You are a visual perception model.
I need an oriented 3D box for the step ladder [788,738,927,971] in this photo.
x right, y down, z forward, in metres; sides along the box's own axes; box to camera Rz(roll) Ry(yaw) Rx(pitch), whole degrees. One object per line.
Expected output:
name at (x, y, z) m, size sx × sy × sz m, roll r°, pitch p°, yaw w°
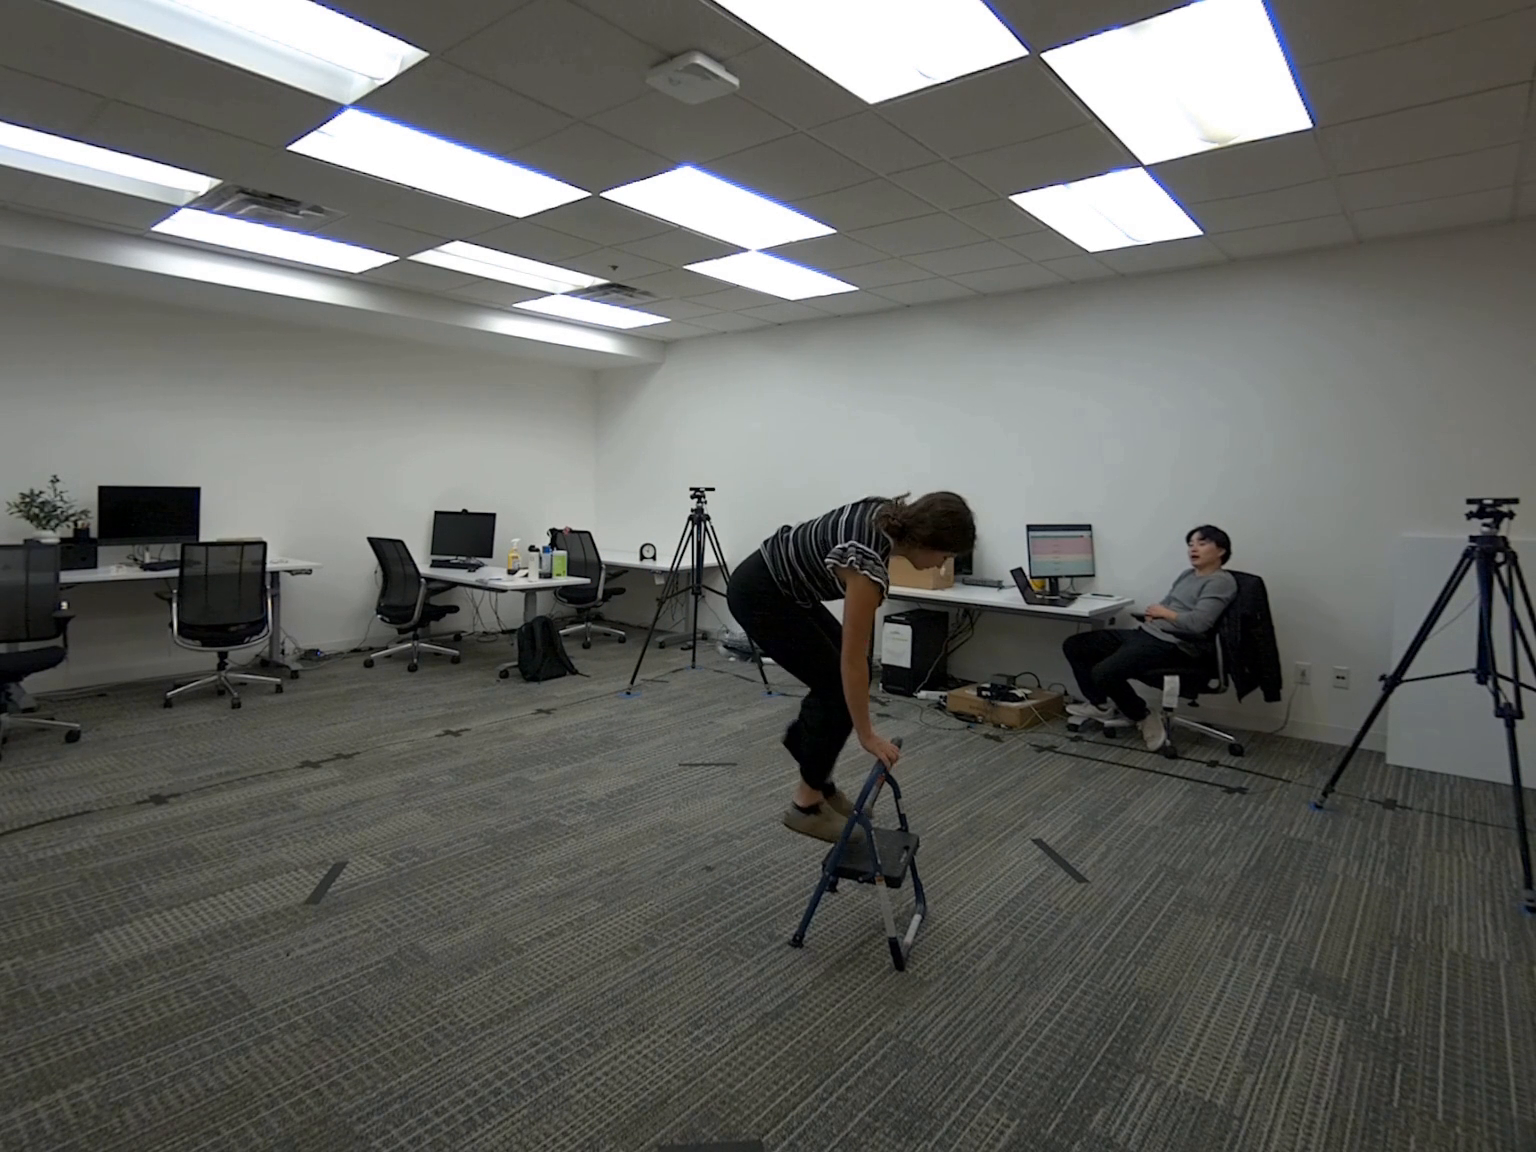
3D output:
step ladder at (0.301, 0.816, 2.703) m, size 0.357 × 0.604 × 0.422 m, roll 3°, pitch 4°, yaw 21°
